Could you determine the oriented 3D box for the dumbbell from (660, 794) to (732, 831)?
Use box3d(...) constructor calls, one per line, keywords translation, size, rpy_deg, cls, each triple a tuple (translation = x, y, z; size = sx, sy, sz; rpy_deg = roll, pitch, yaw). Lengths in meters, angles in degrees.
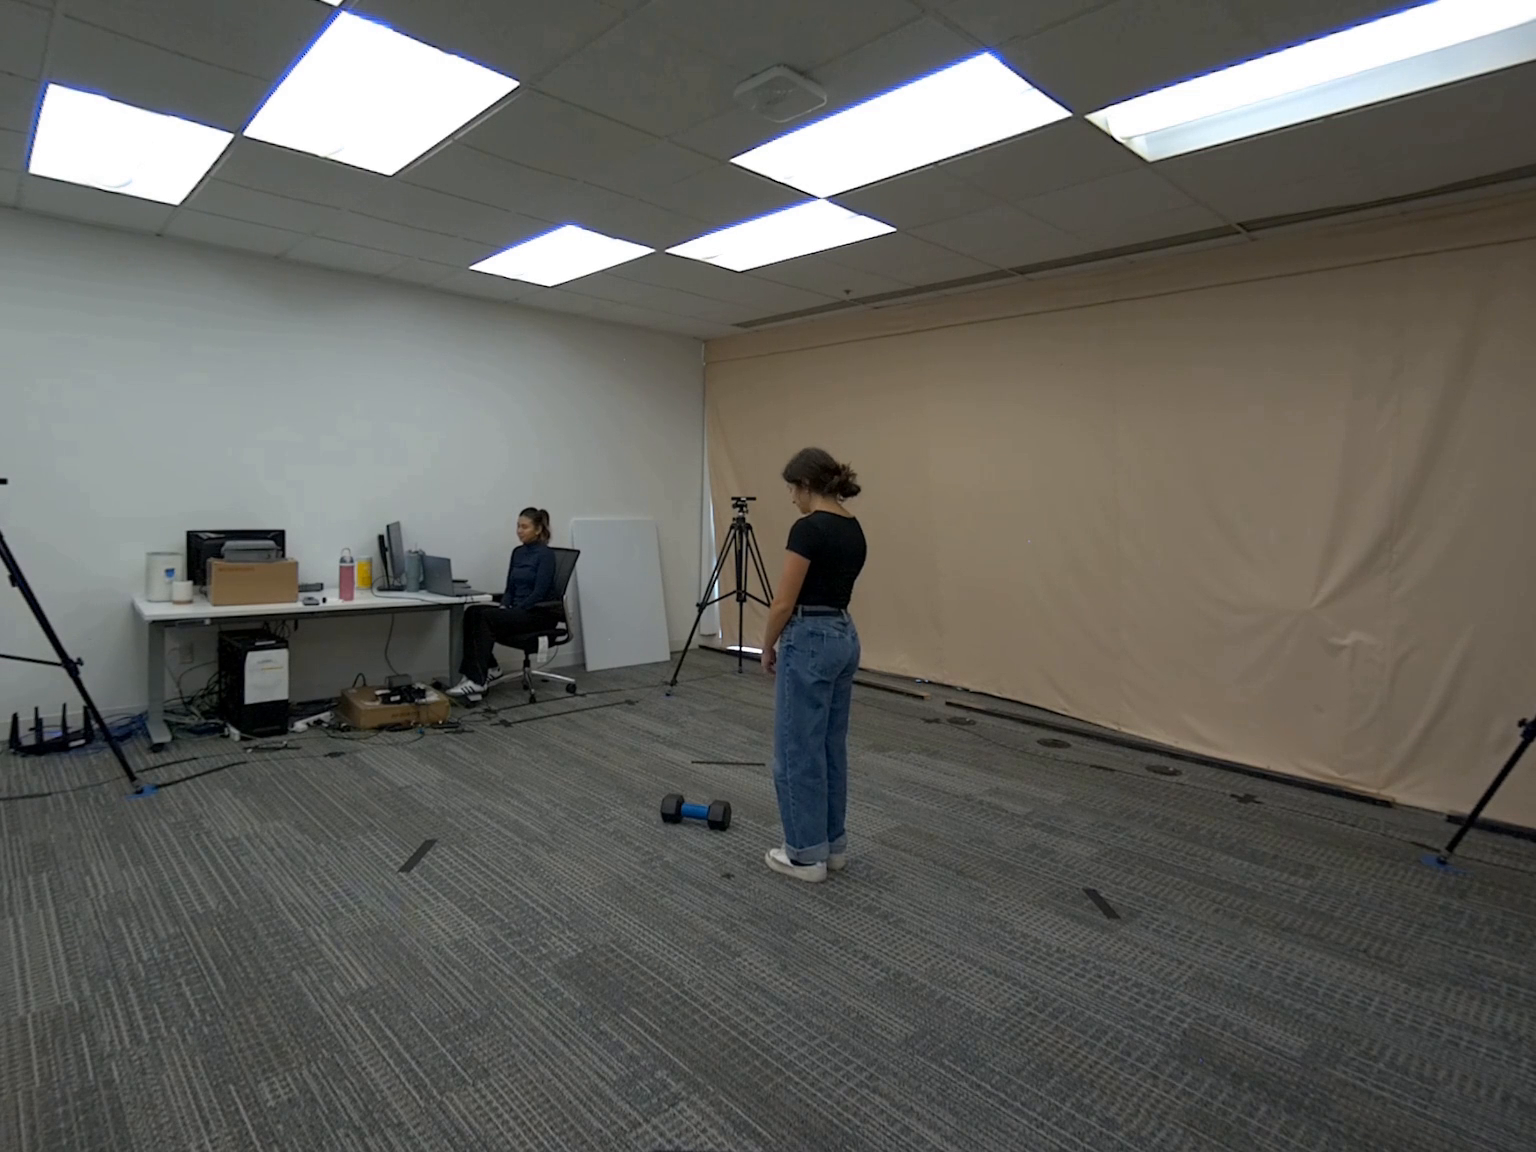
box3d(translation=(-0.315, 1.005, 3.592), size=(0.298, 0.124, 0.106), rpy_deg=(2, -25, 17), cls="dumbbell")
